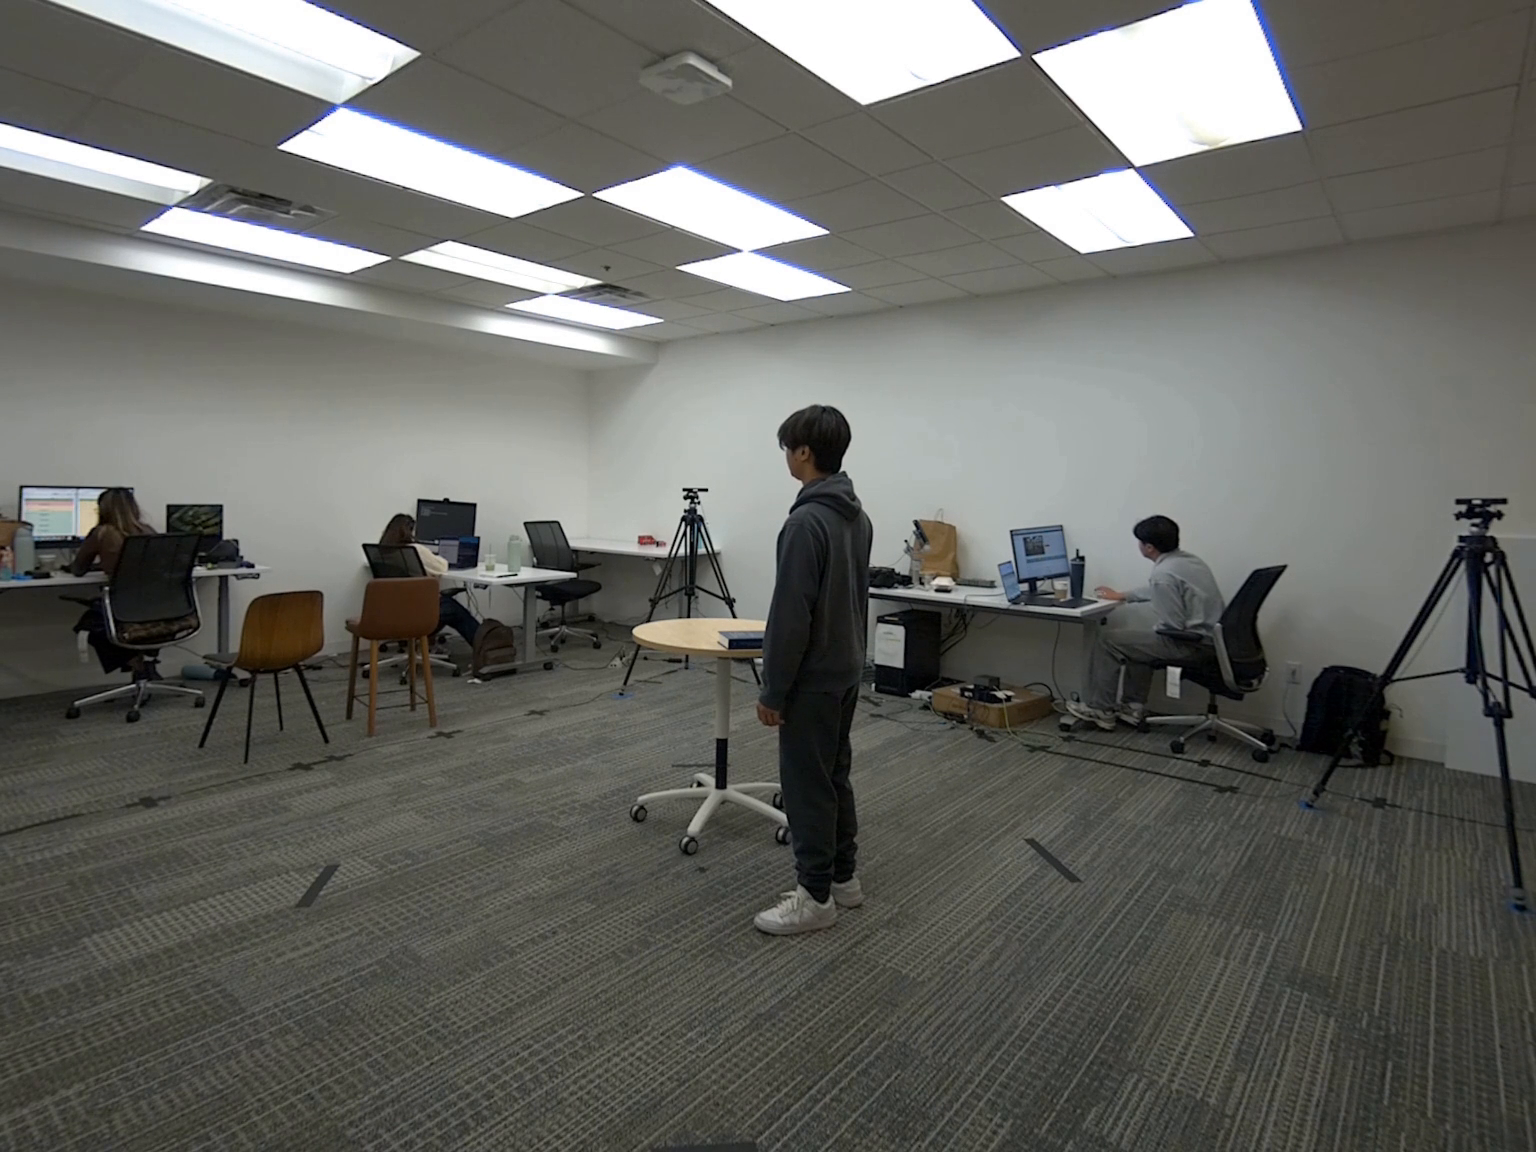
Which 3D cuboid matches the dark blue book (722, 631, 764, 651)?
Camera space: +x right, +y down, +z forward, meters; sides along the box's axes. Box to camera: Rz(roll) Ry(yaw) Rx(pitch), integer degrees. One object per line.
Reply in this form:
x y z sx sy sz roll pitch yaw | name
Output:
-0.065 0.241 3.266 0.241 0.045 0.167 0 6 -16 | dark blue book
